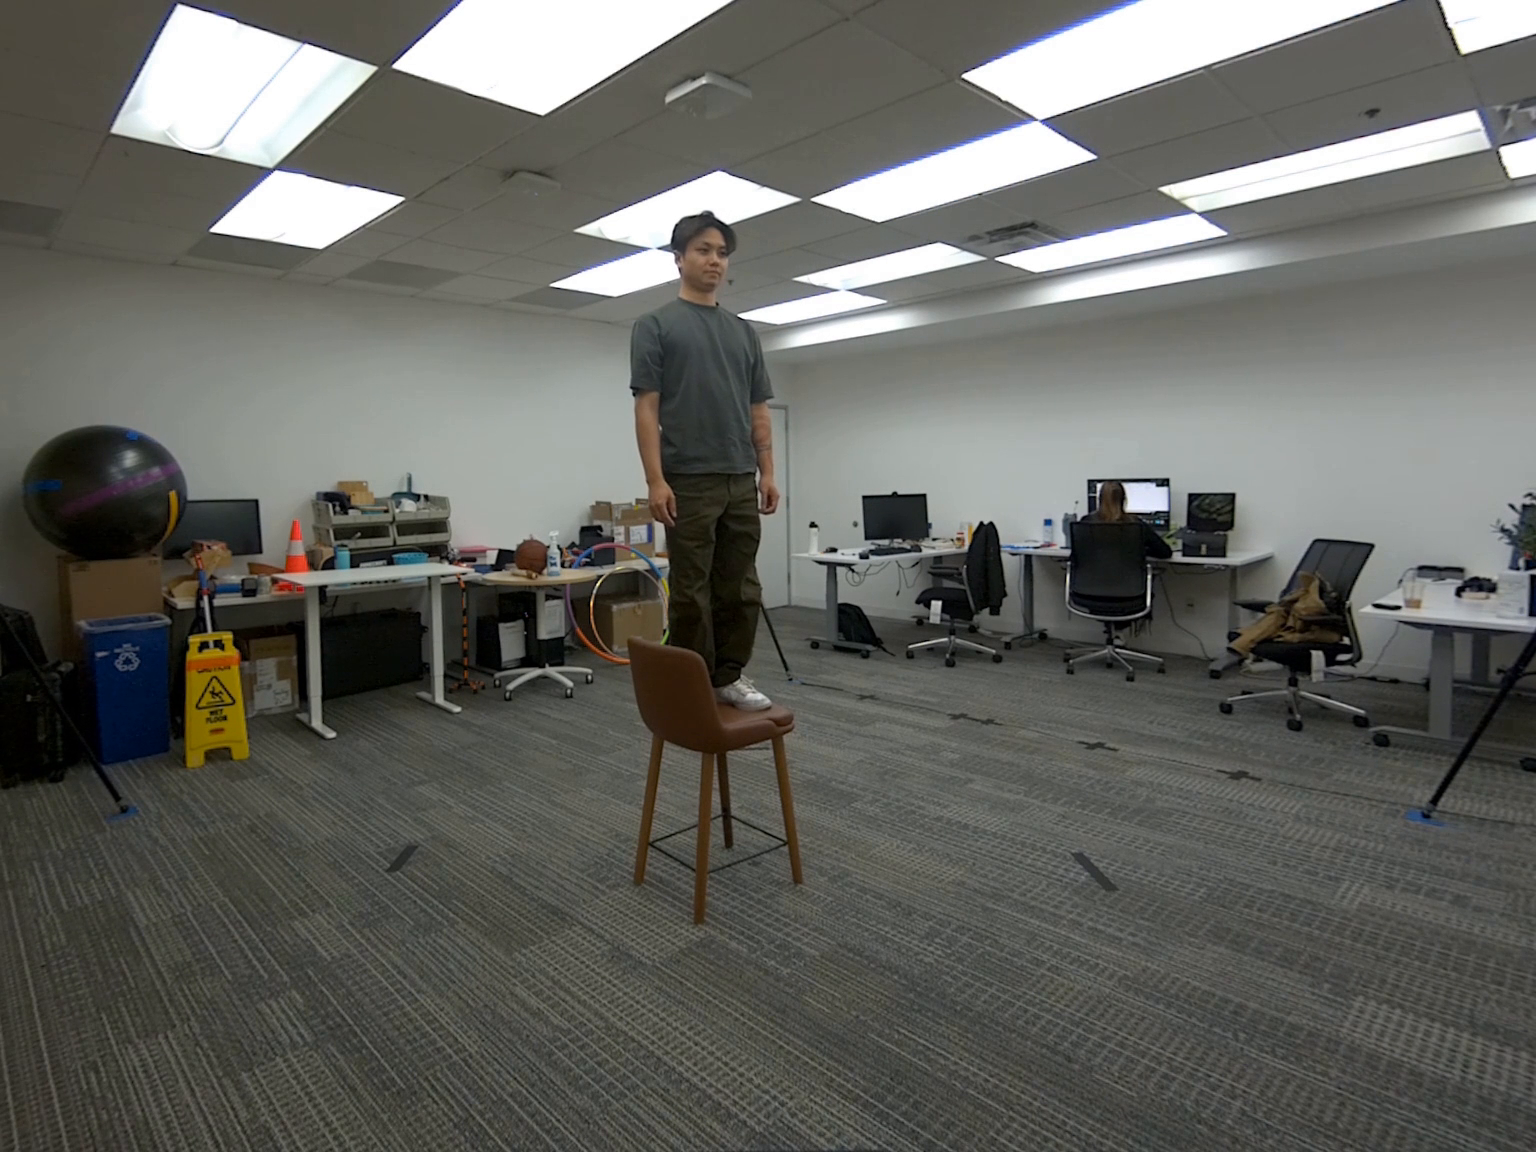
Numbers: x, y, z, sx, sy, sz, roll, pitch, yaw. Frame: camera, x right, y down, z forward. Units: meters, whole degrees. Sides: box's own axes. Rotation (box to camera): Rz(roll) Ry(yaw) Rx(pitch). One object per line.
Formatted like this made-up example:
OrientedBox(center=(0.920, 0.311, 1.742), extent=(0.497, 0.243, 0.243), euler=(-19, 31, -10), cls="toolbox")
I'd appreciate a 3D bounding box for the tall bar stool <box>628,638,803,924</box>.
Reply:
OrientedBox(center=(-0.187, 0.629, 2.936), extent=(0.456, 0.885, 0.470), euler=(-6, 7, -40), cls="tall bar stool")
